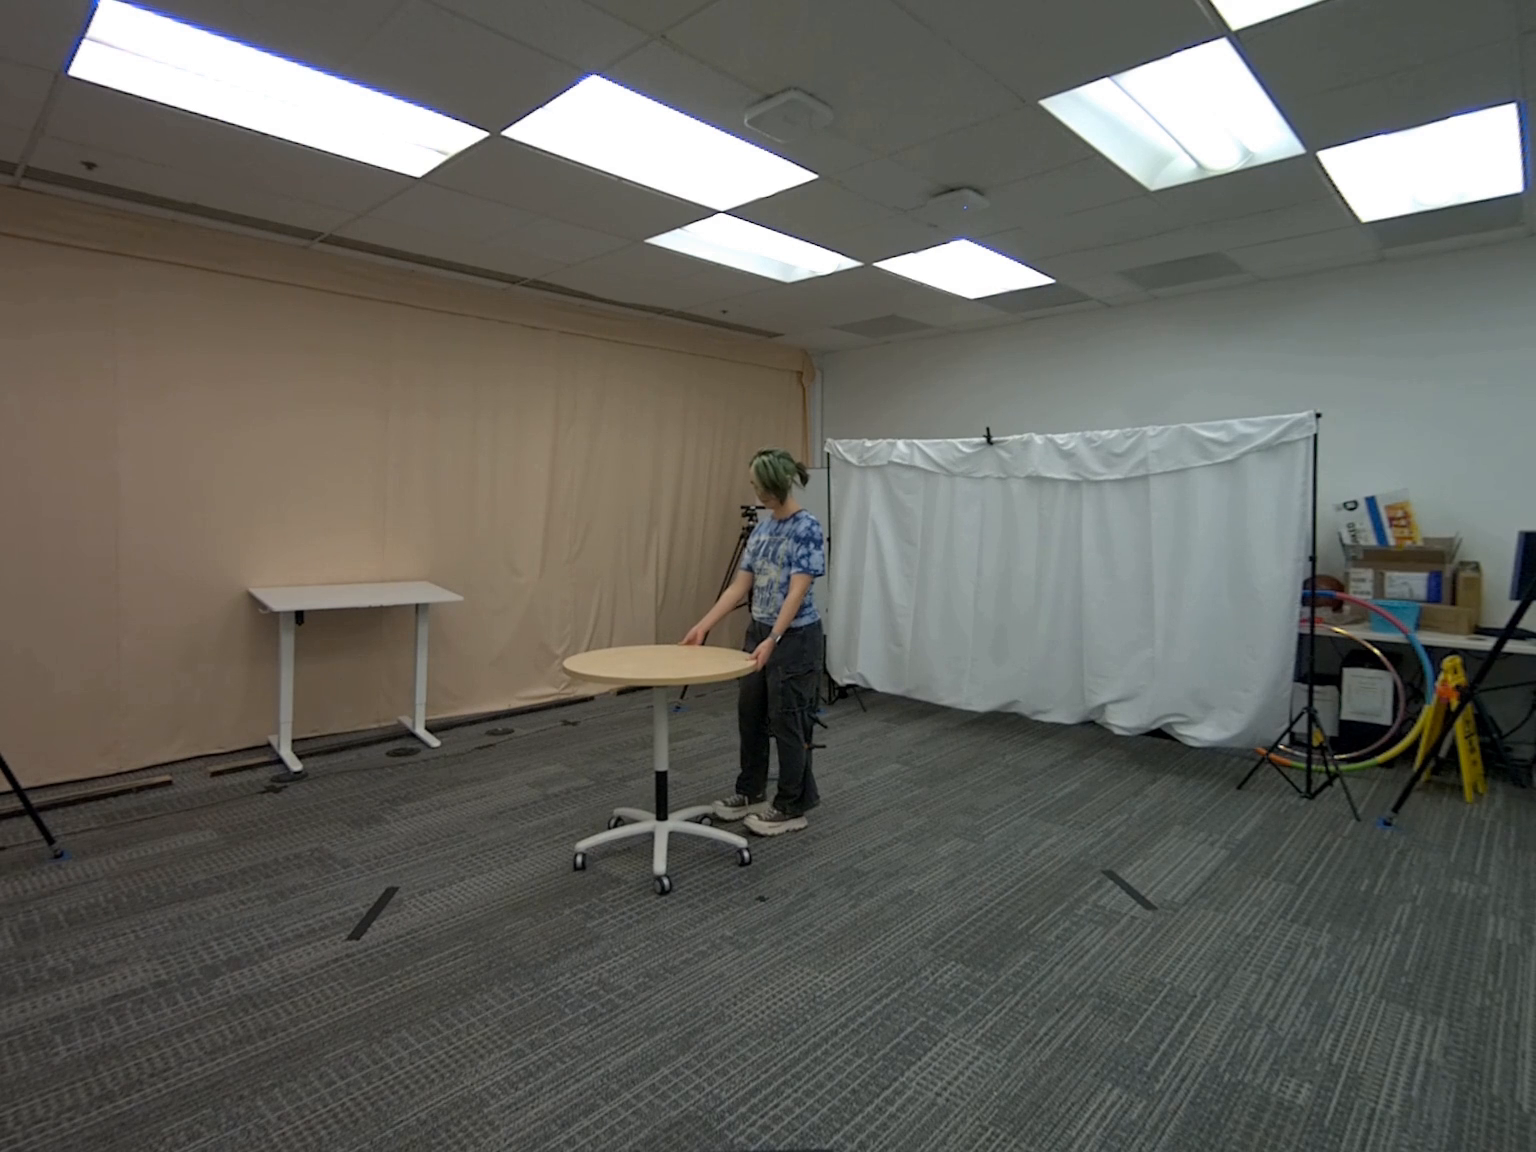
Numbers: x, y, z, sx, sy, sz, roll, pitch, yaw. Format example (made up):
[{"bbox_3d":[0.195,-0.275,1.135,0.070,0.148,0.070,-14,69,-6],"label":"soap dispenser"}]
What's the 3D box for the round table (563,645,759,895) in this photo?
[{"bbox_3d":[-0.423,0.727,3.353,0.763,0.793,0.766,-1,3,-2],"label":"round table"}]
